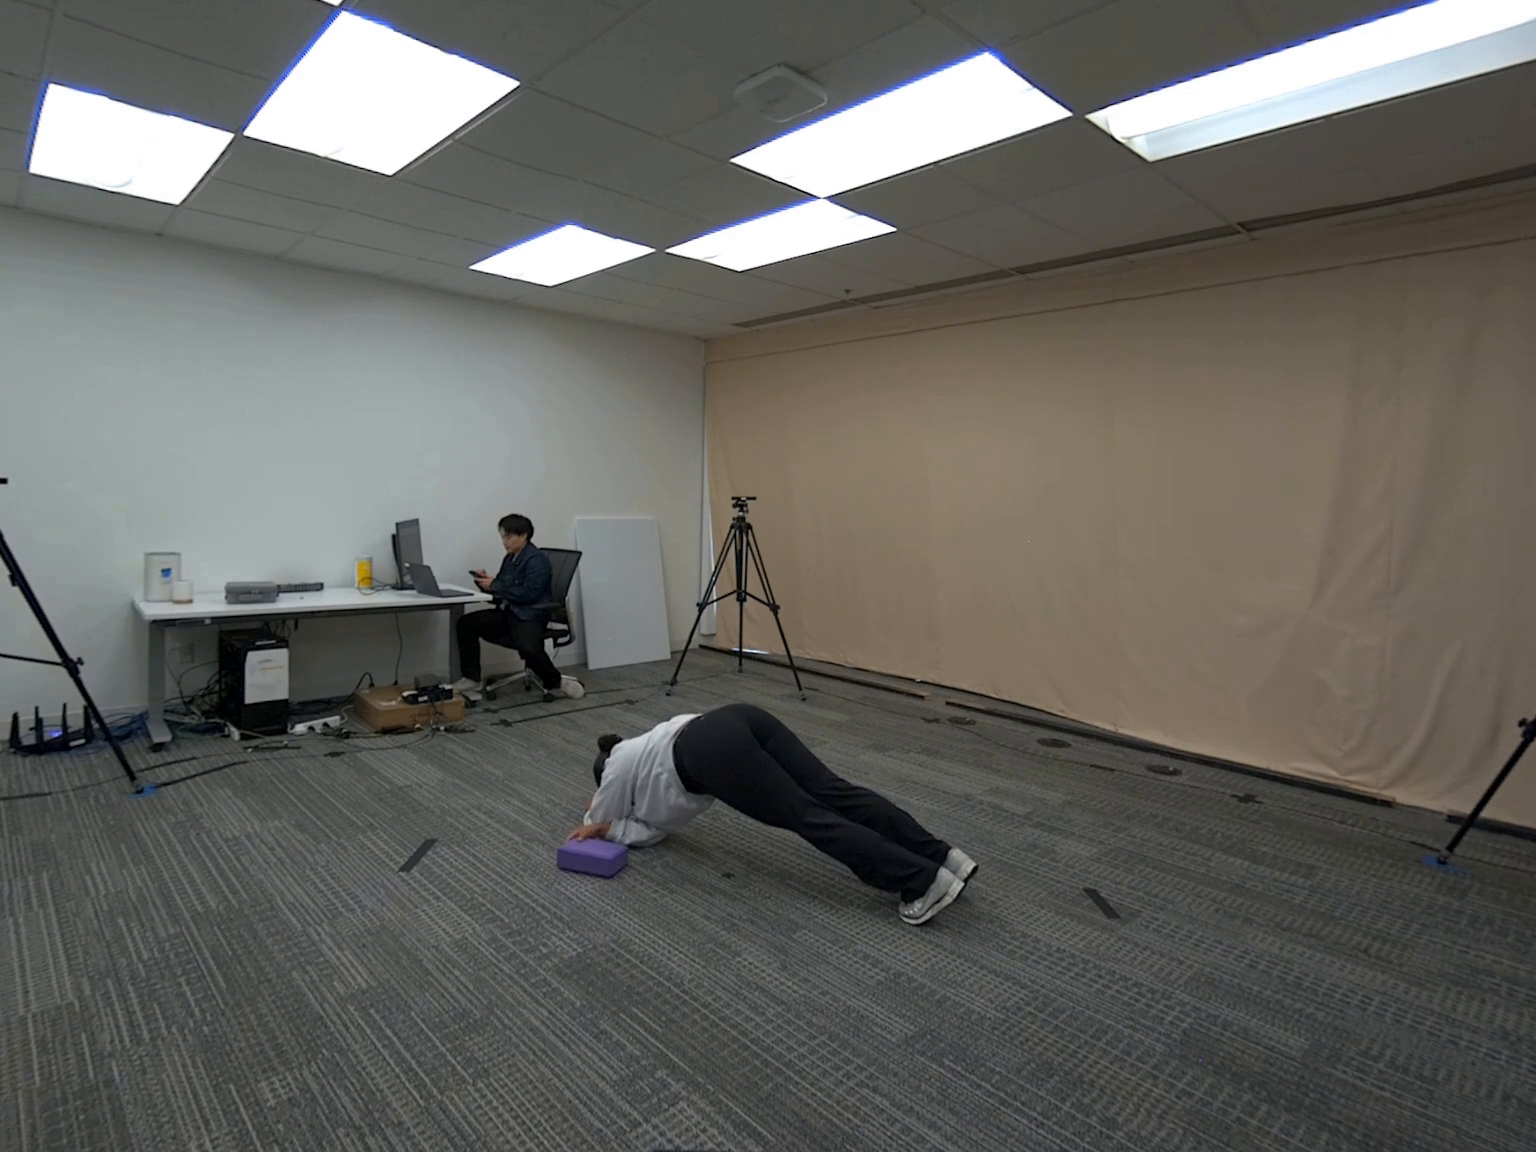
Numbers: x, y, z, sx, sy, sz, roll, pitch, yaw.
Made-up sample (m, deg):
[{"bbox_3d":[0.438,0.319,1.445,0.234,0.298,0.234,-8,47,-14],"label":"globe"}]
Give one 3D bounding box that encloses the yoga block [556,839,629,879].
[{"bbox_3d":[-0.637,1.043,3.154,0.233,0.076,0.147,3,3,19],"label":"yoga block"}]
